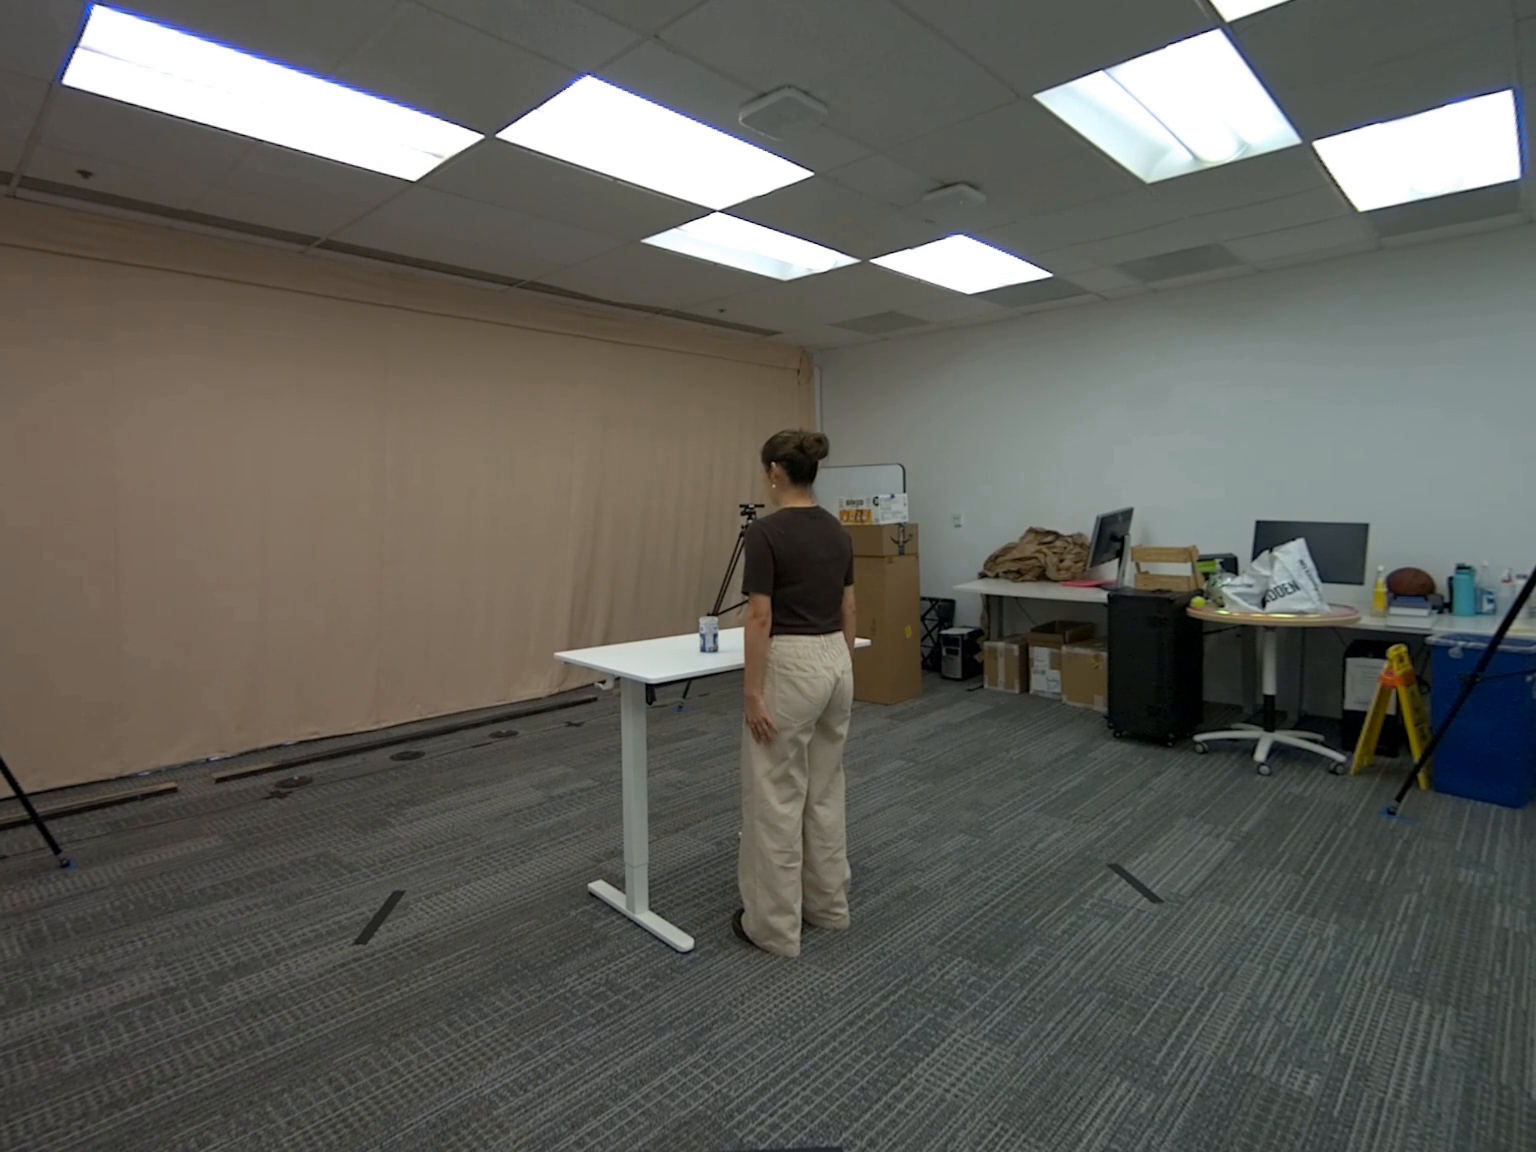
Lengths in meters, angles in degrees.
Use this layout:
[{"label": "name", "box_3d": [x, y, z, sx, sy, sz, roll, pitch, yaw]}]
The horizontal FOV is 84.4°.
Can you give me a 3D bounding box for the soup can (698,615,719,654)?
[{"label": "soup can", "box_3d": [-0.198, 0.207, 2.937, 0.067, 0.121, 0.067, 0, 5, -2]}]
